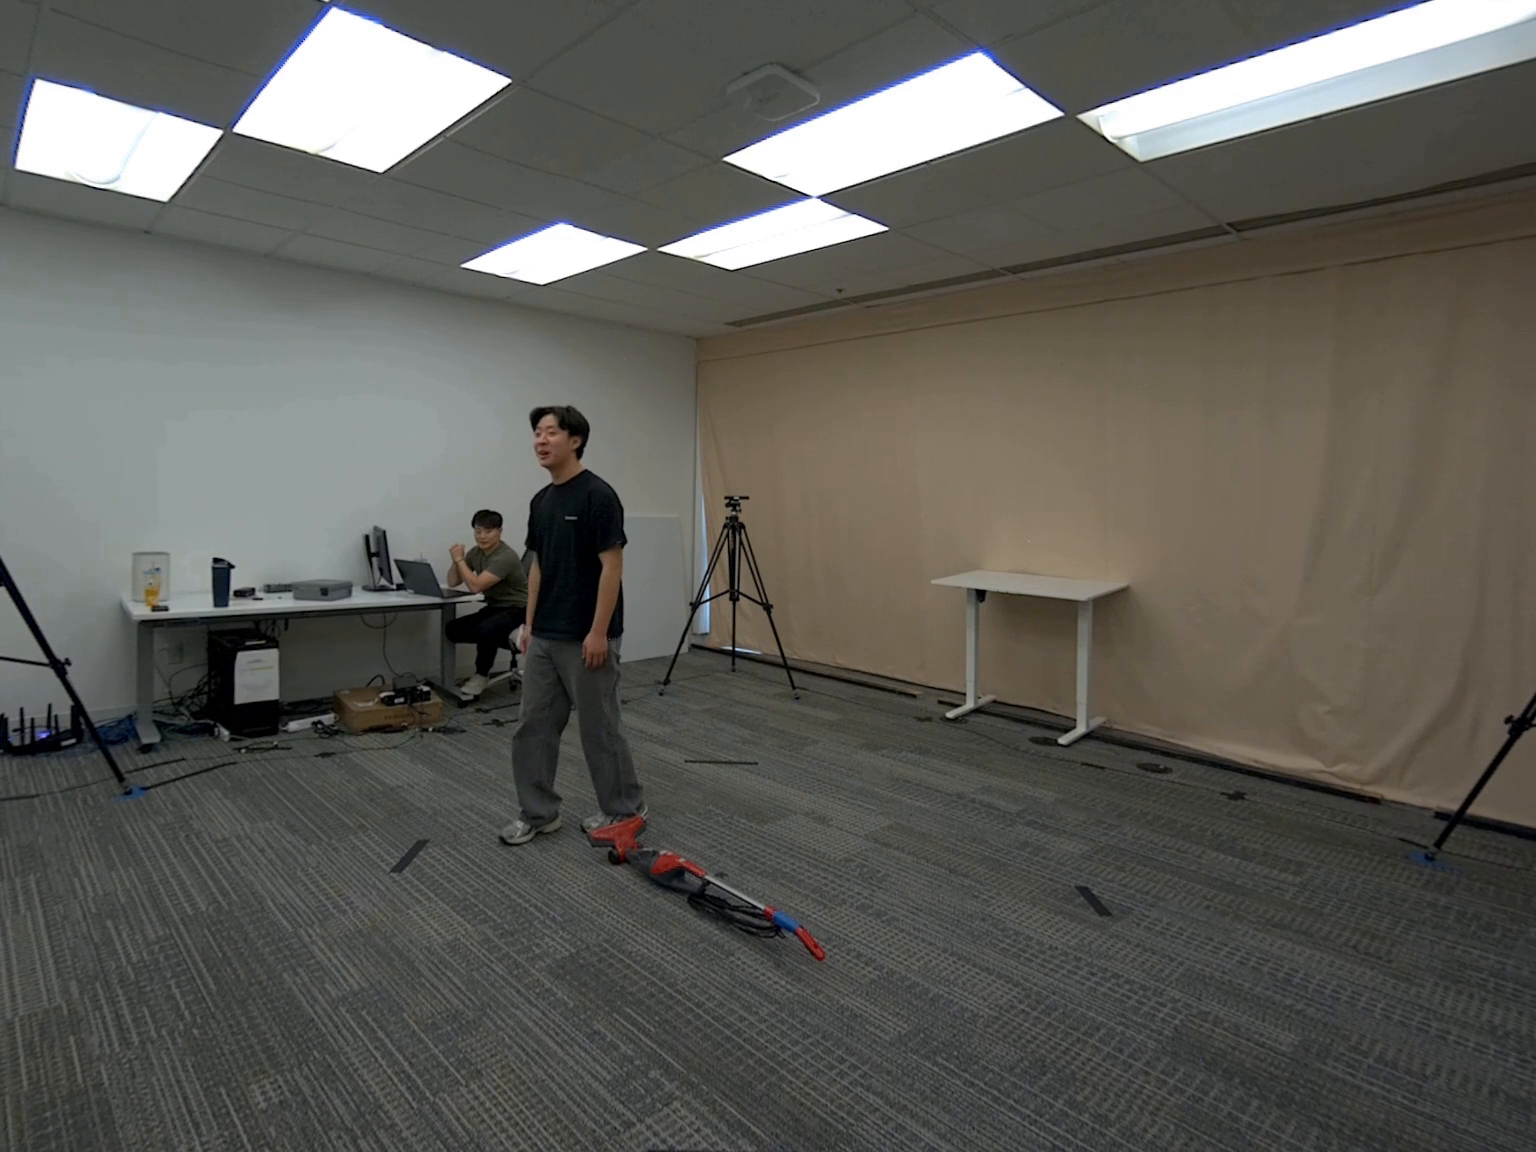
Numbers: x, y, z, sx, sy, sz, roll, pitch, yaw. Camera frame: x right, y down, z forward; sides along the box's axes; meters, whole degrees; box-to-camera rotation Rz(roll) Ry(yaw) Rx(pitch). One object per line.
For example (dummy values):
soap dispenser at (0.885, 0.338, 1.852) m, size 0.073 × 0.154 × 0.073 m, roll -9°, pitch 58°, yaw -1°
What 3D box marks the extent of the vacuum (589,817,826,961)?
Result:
vacuum at (-0.219, 1.073, 2.847) m, size 0.247 × 0.143 × 1.076 m, roll -6°, pitch 9°, yaw -42°
